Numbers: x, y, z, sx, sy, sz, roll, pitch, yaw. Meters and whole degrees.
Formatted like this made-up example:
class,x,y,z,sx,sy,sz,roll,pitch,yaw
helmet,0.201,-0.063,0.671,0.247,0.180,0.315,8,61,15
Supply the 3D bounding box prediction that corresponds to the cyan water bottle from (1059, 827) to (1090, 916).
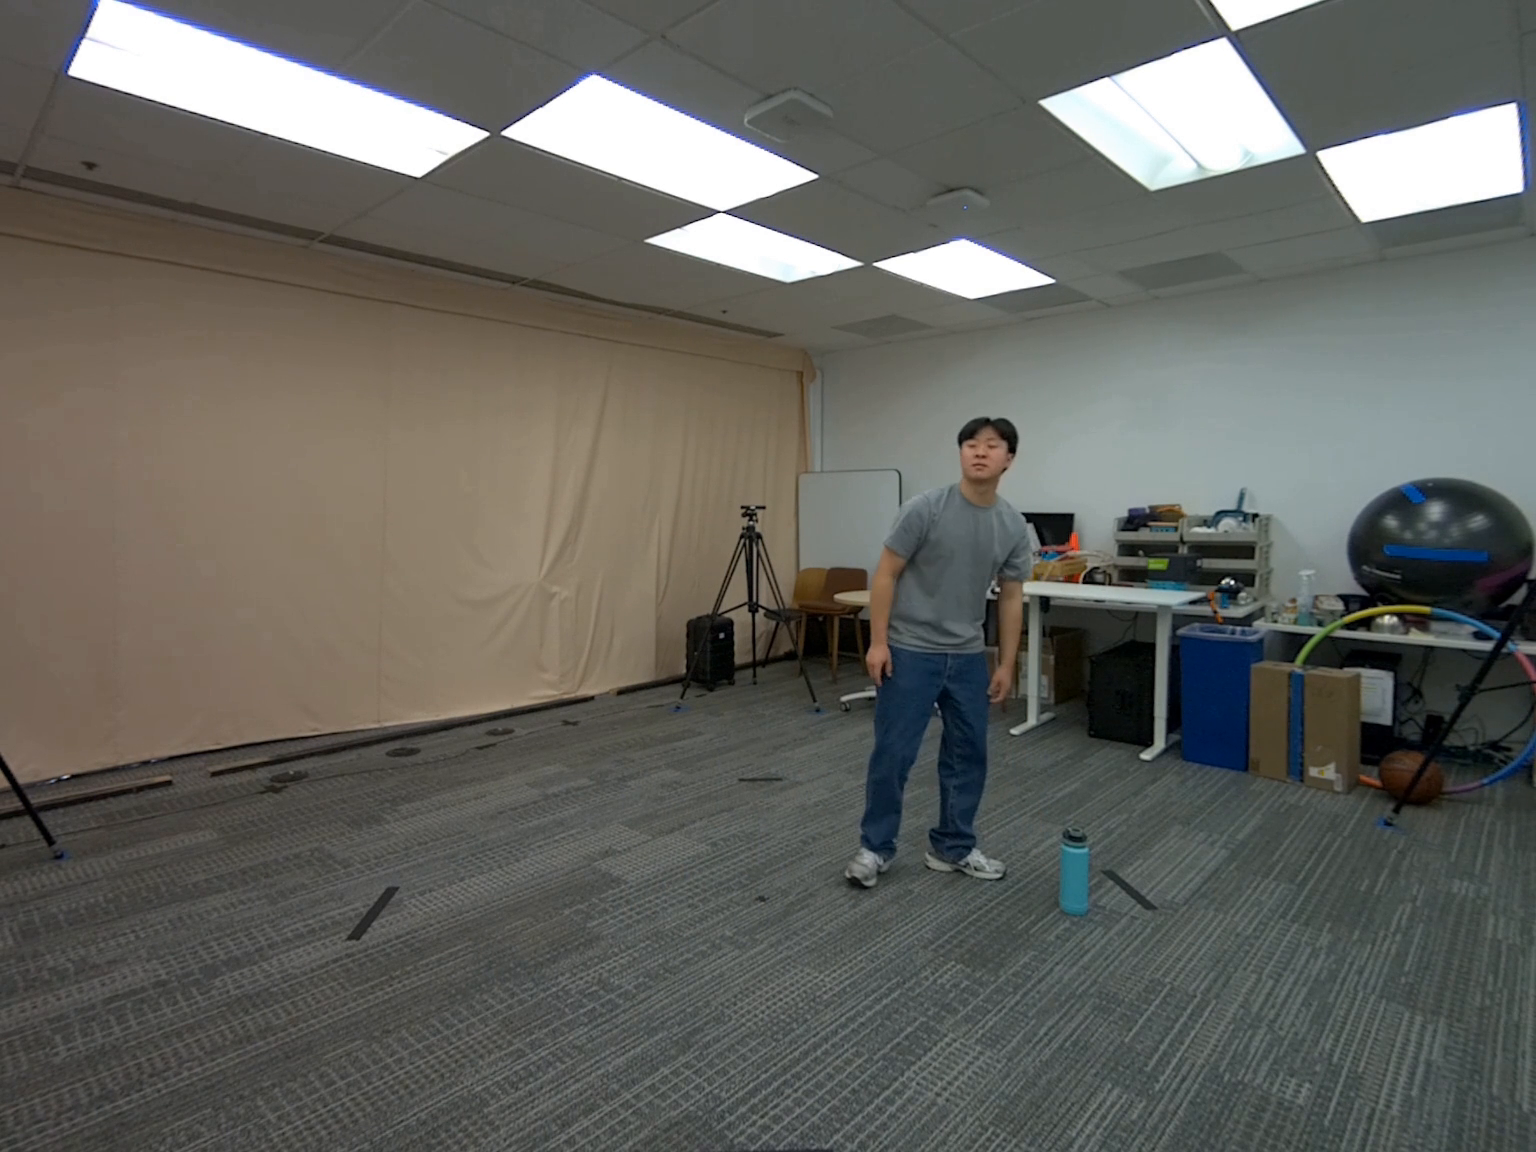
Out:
class,x,y,z,sx,sy,sz,roll,pitch,yaw
cyan water bottle,1.058,1.007,2.893,0.092,0.283,0.092,-2,1,-2
